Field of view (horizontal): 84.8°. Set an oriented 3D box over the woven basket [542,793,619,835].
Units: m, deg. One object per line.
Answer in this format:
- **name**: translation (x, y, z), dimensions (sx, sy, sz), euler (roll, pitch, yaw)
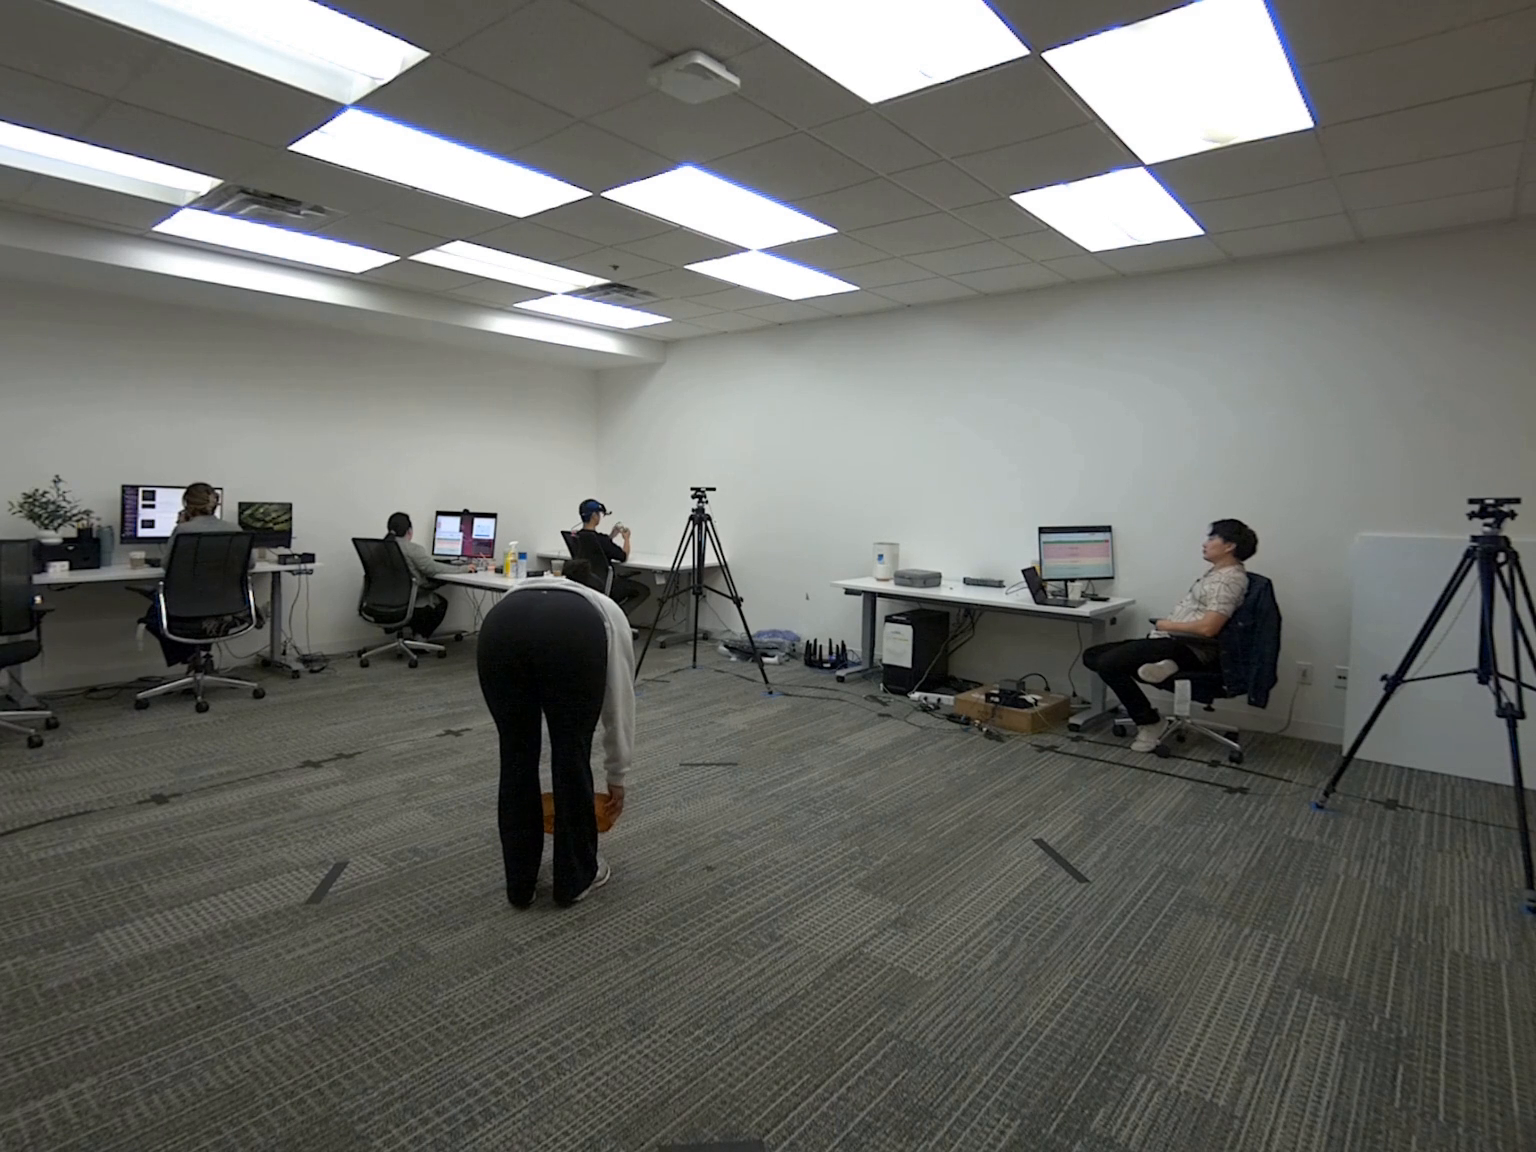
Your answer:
- **woven basket**: translation (-0.720, 0.866, 3.107), dimensions (0.352, 0.075, 0.244), euler (-5, -42, 5)
